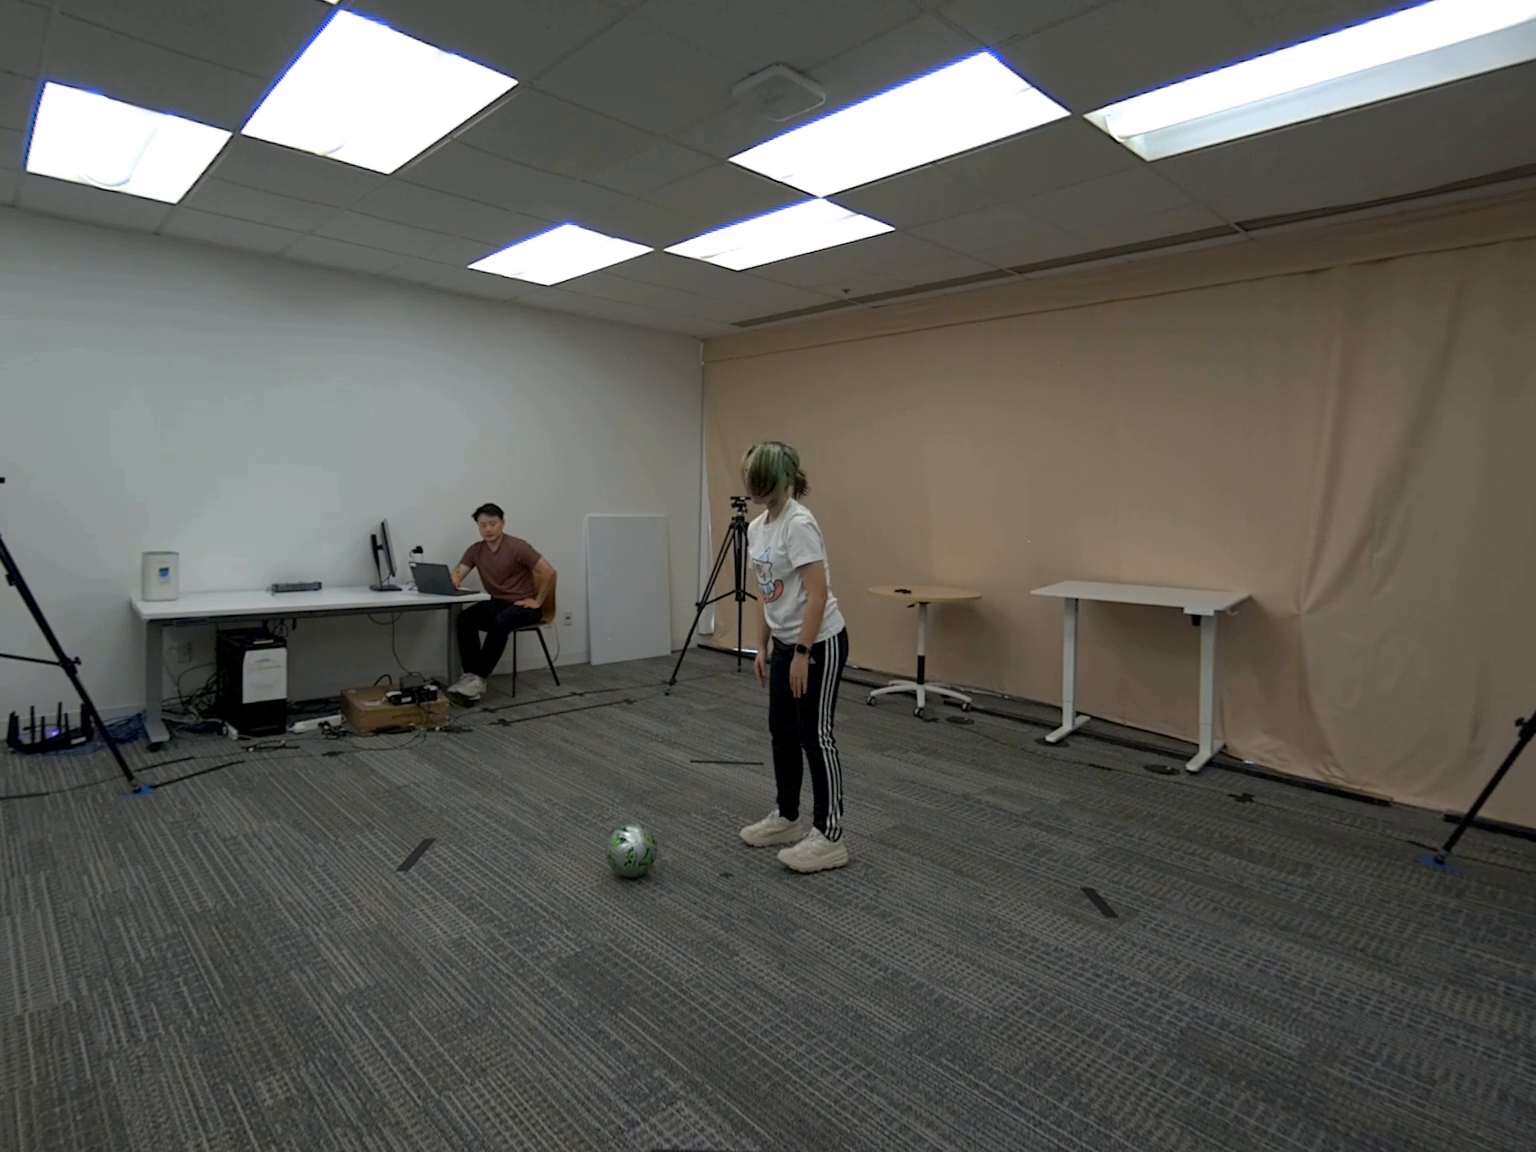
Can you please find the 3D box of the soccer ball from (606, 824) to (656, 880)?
[{"bbox_3d":[-0.505,1.008,3.078,0.187,0.187,0.188,1,4,-1],"label":"soccer ball"}]
